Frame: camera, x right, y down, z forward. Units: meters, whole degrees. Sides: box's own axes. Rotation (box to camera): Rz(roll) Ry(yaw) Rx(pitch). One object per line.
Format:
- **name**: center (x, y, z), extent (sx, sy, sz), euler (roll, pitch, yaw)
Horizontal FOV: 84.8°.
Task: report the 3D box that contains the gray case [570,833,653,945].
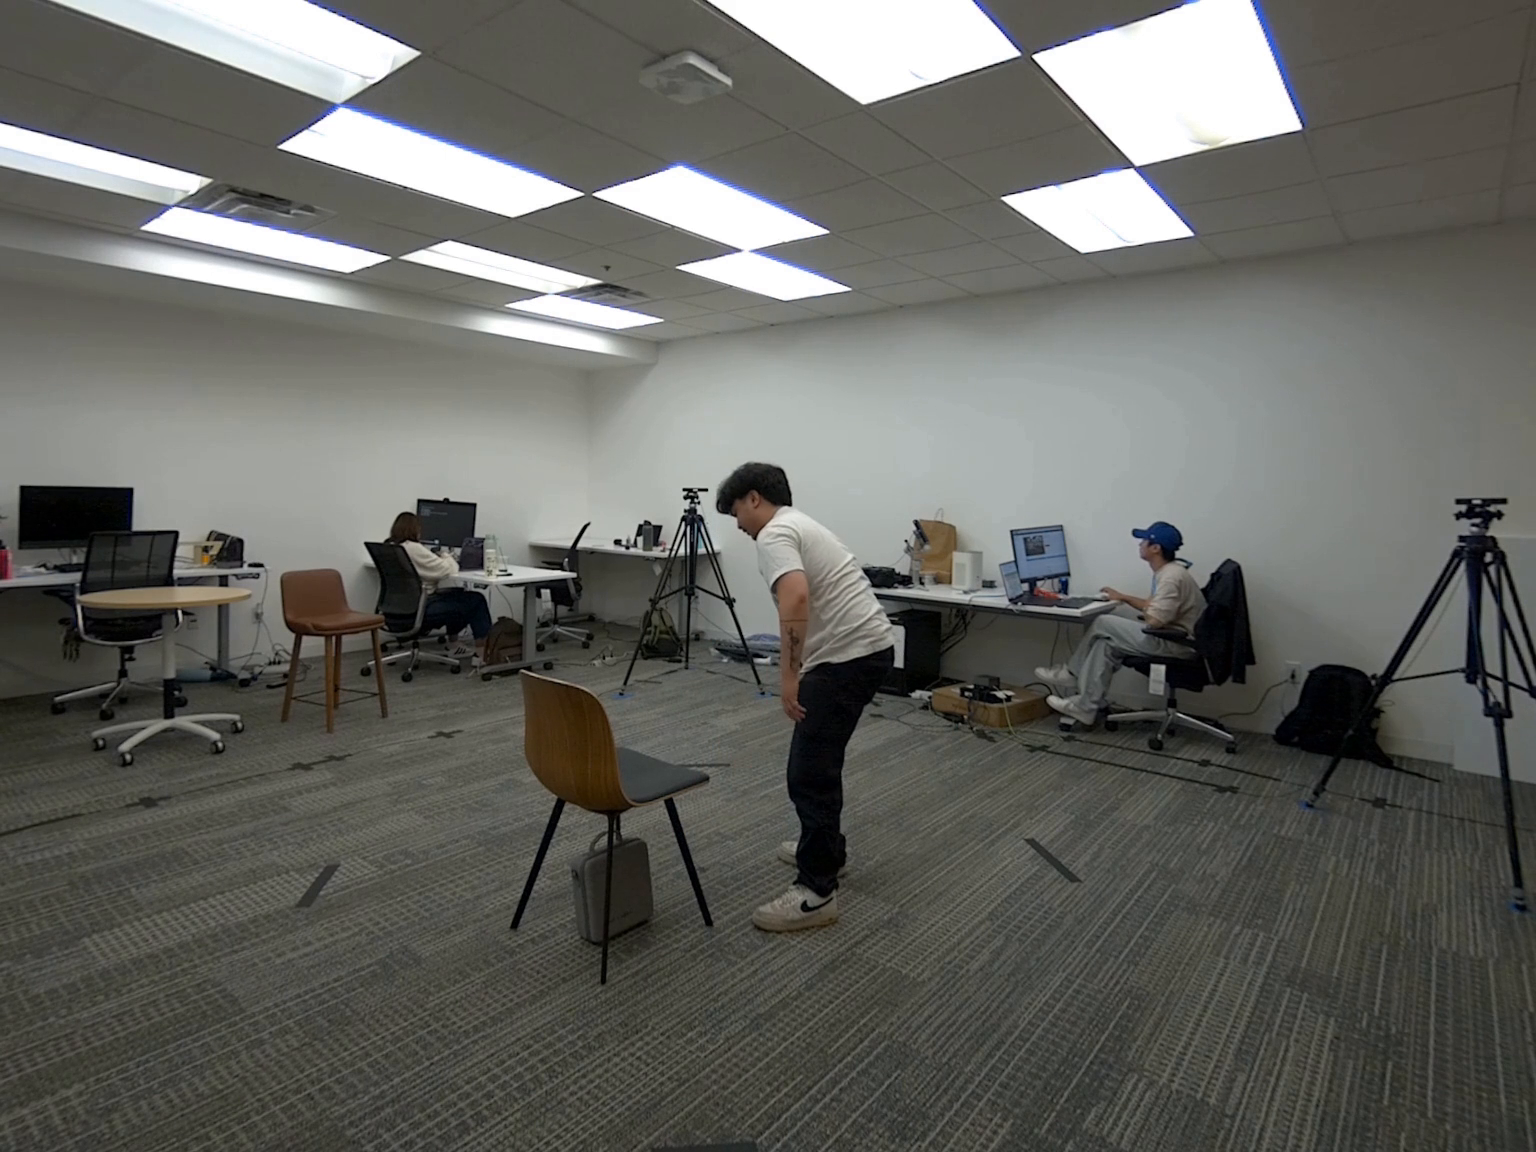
- **gray case**: center (-0.498, 0.979, 2.679), extent (0.107, 0.262, 0.249), euler (-9, -4, 44)
